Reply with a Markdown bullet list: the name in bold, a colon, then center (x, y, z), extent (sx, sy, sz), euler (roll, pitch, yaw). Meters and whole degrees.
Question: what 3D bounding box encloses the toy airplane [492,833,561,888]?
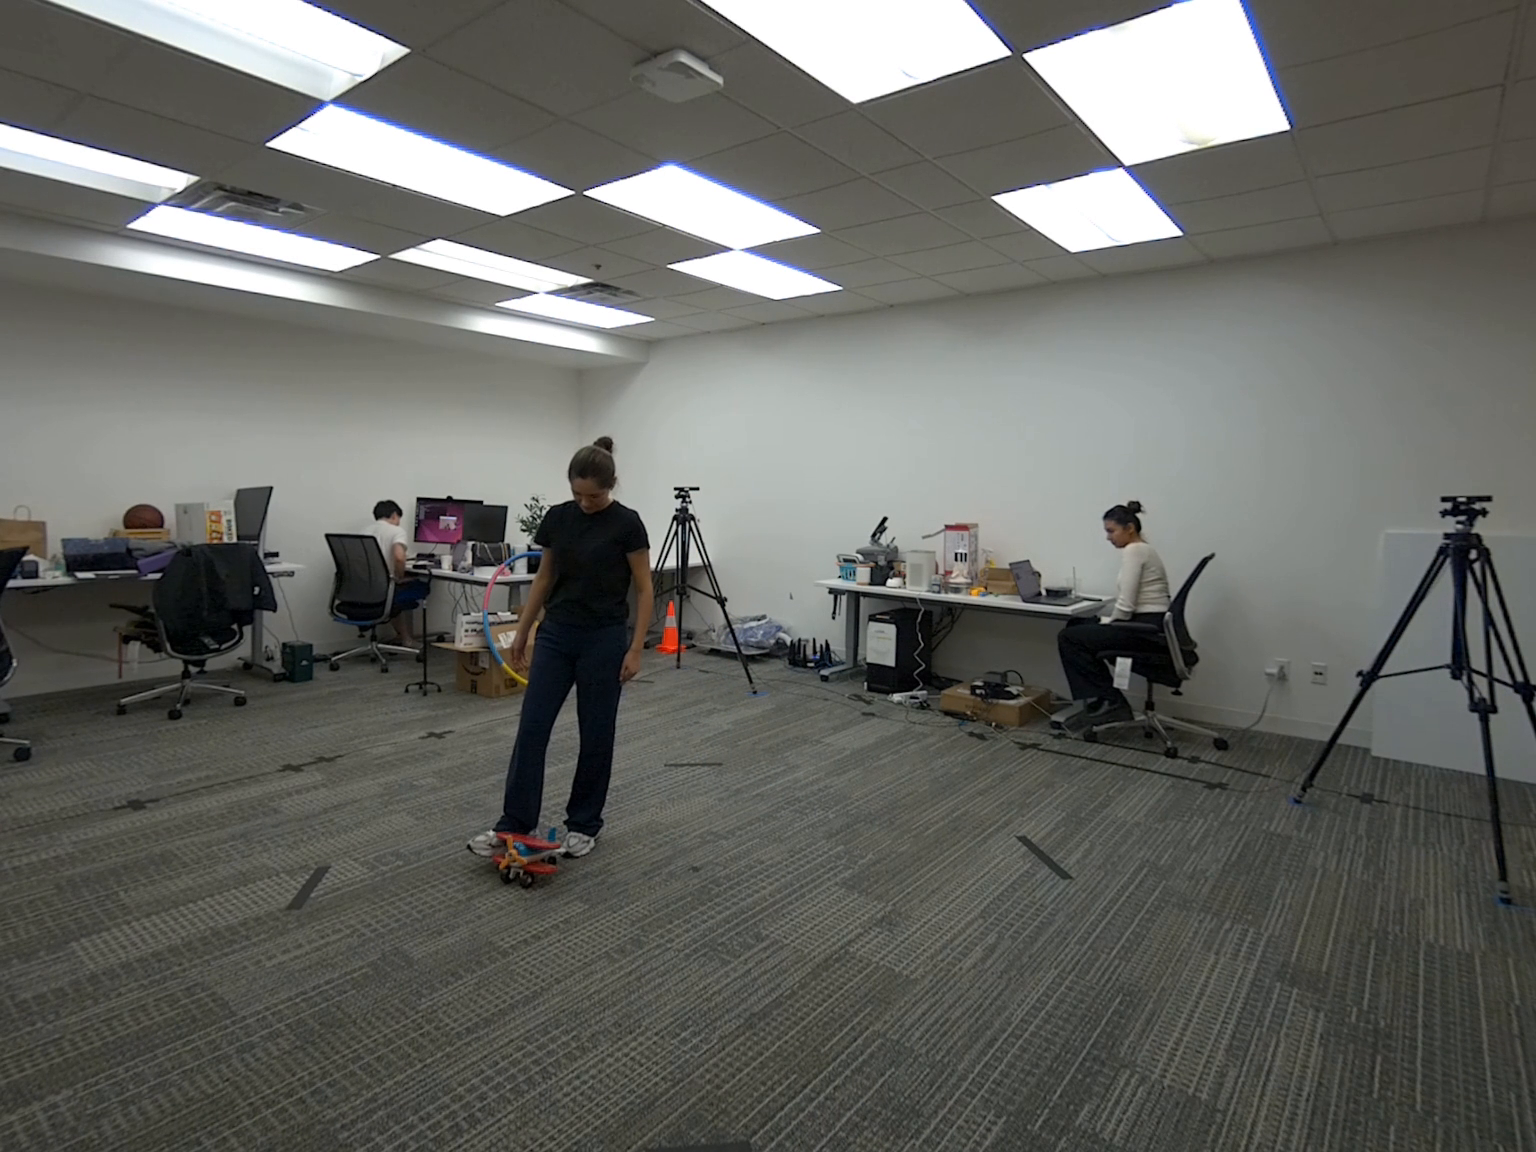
- **toy airplane**: center (-0.850, 0.992, 3.050), extent (0.250, 0.155, 0.262), euler (1, 6, -6)
